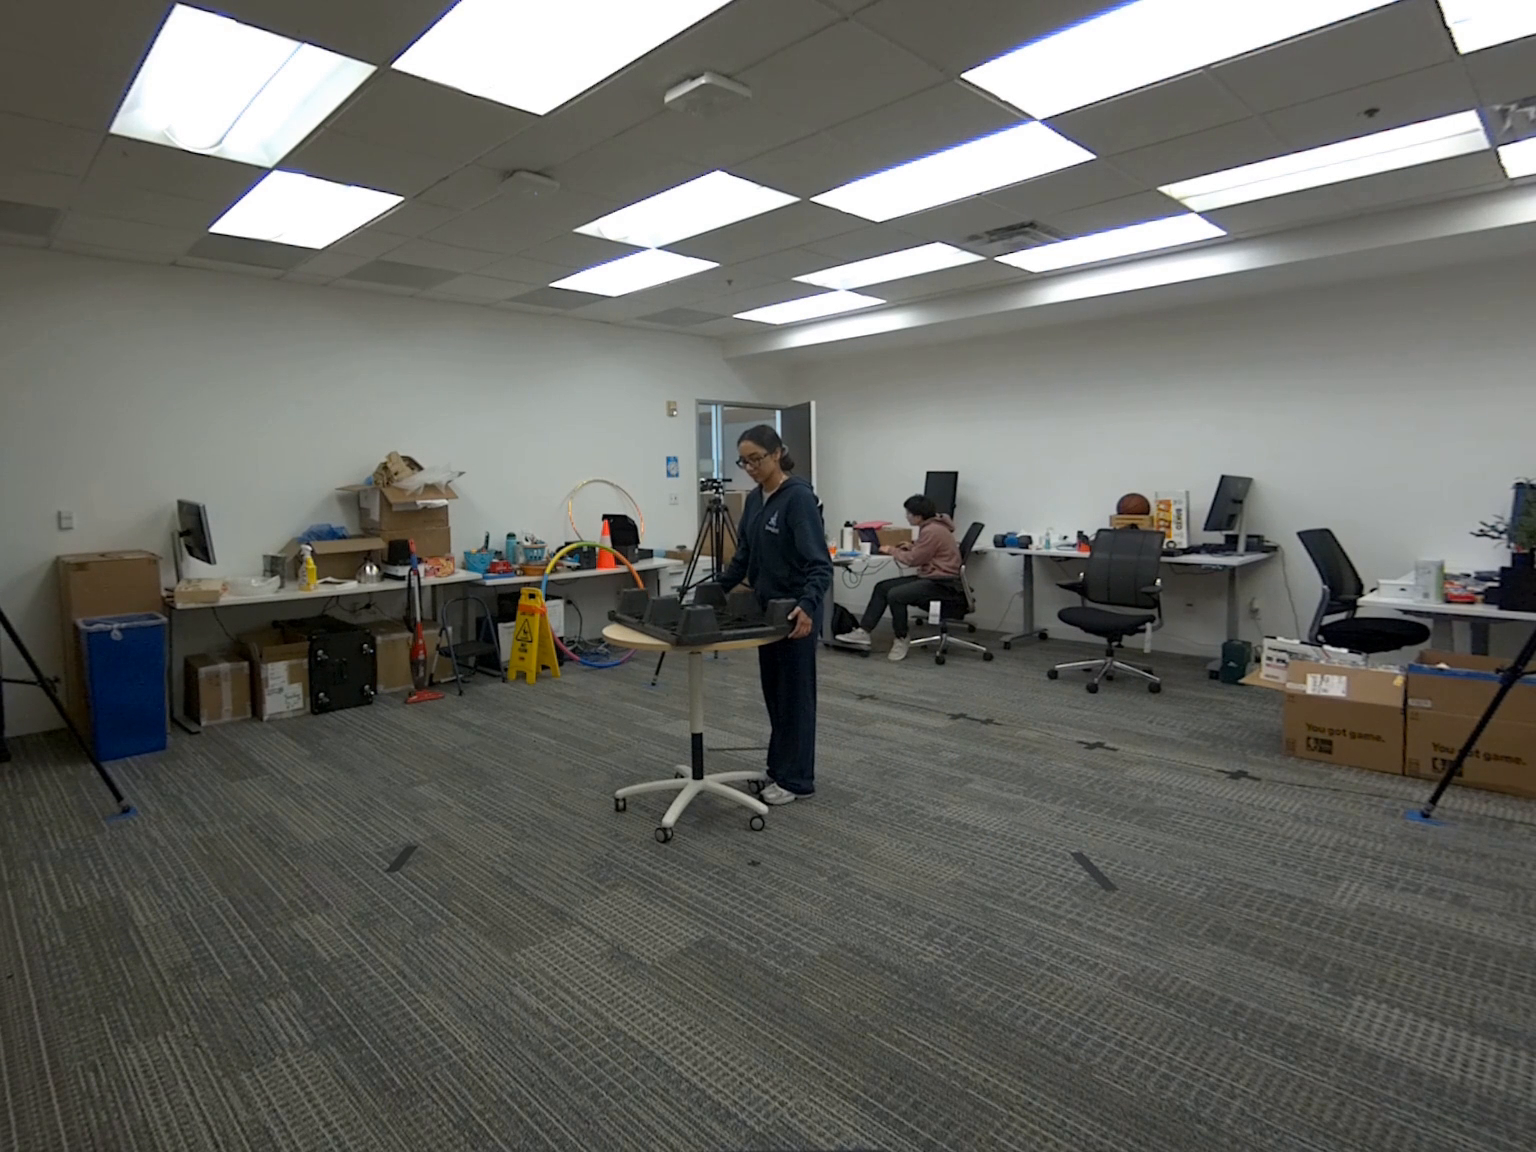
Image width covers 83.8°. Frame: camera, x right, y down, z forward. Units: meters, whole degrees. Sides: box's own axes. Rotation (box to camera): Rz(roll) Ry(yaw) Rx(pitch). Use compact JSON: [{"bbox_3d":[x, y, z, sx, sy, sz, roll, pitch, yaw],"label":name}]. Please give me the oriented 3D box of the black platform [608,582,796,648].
[{"bbox_3d":[-0.269,0.146,3.602,0.592,0.143,0.827,-3,7,-27],"label":"black platform"}]
